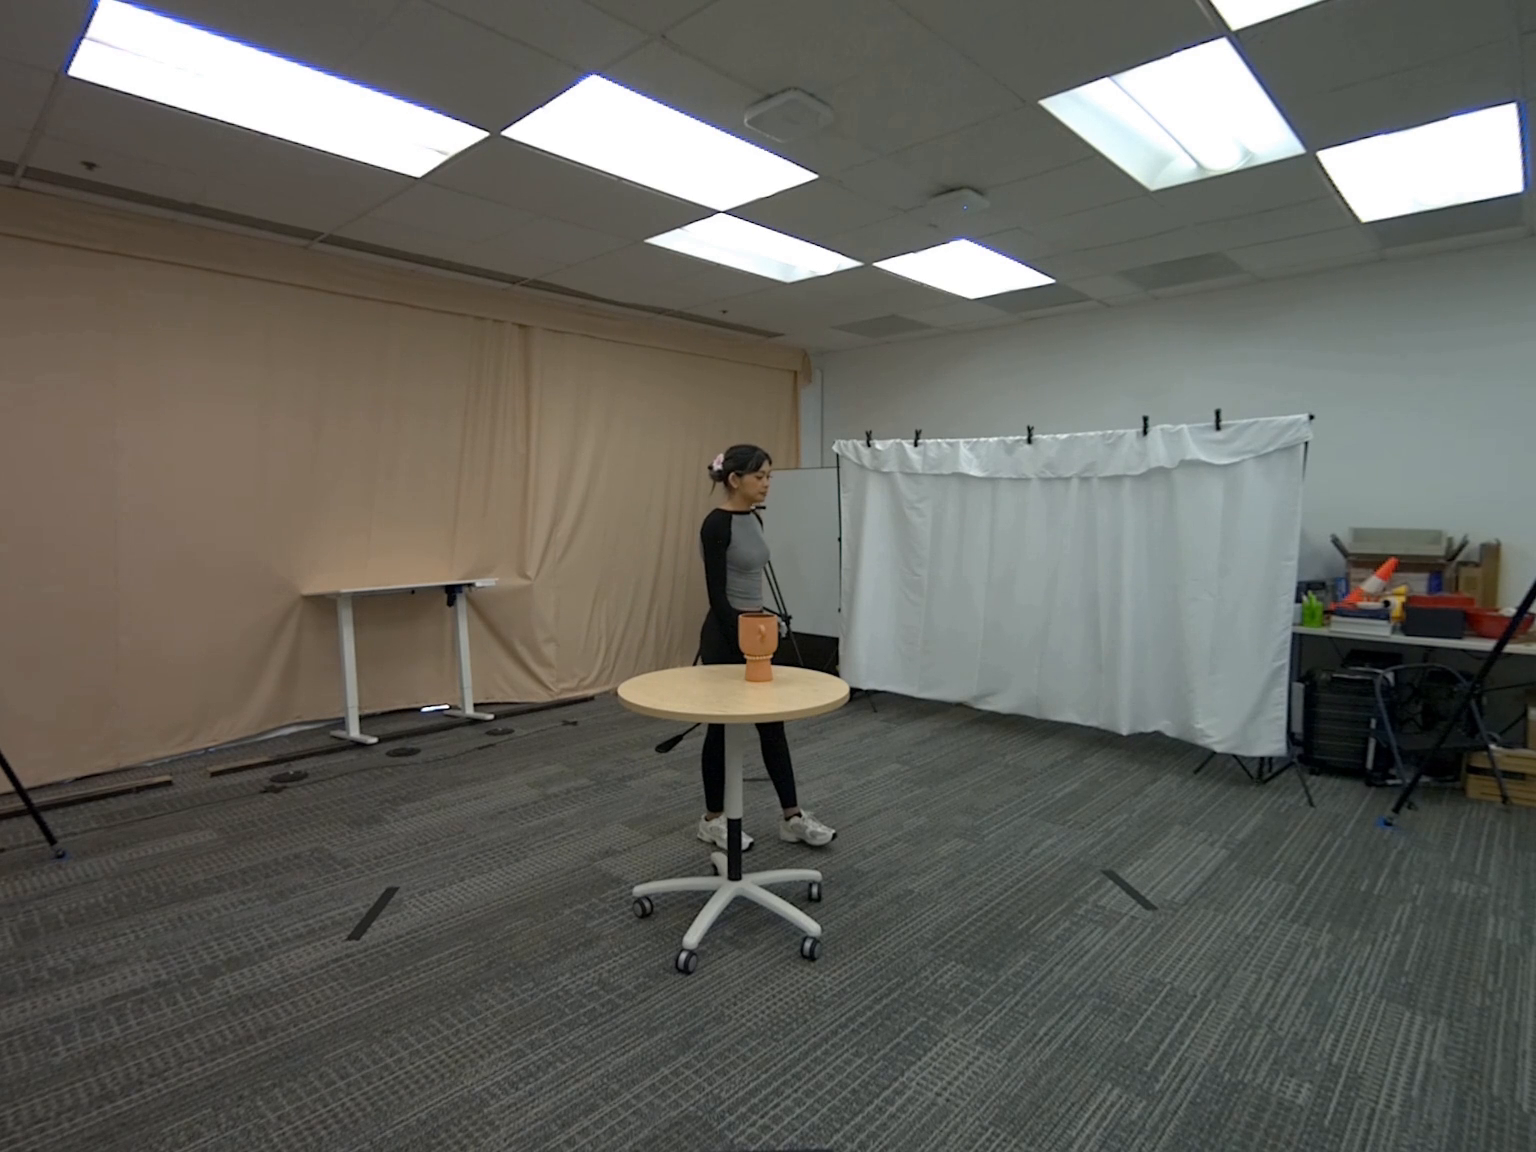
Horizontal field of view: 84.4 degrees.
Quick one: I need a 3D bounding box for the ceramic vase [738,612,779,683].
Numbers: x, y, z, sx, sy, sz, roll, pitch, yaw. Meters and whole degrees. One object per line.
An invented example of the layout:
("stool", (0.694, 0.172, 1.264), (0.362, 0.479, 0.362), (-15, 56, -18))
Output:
("ceramic vase", (-0.027, 0.246, 2.900), (0.138, 0.219, 0.155), (3, 4, 29))
